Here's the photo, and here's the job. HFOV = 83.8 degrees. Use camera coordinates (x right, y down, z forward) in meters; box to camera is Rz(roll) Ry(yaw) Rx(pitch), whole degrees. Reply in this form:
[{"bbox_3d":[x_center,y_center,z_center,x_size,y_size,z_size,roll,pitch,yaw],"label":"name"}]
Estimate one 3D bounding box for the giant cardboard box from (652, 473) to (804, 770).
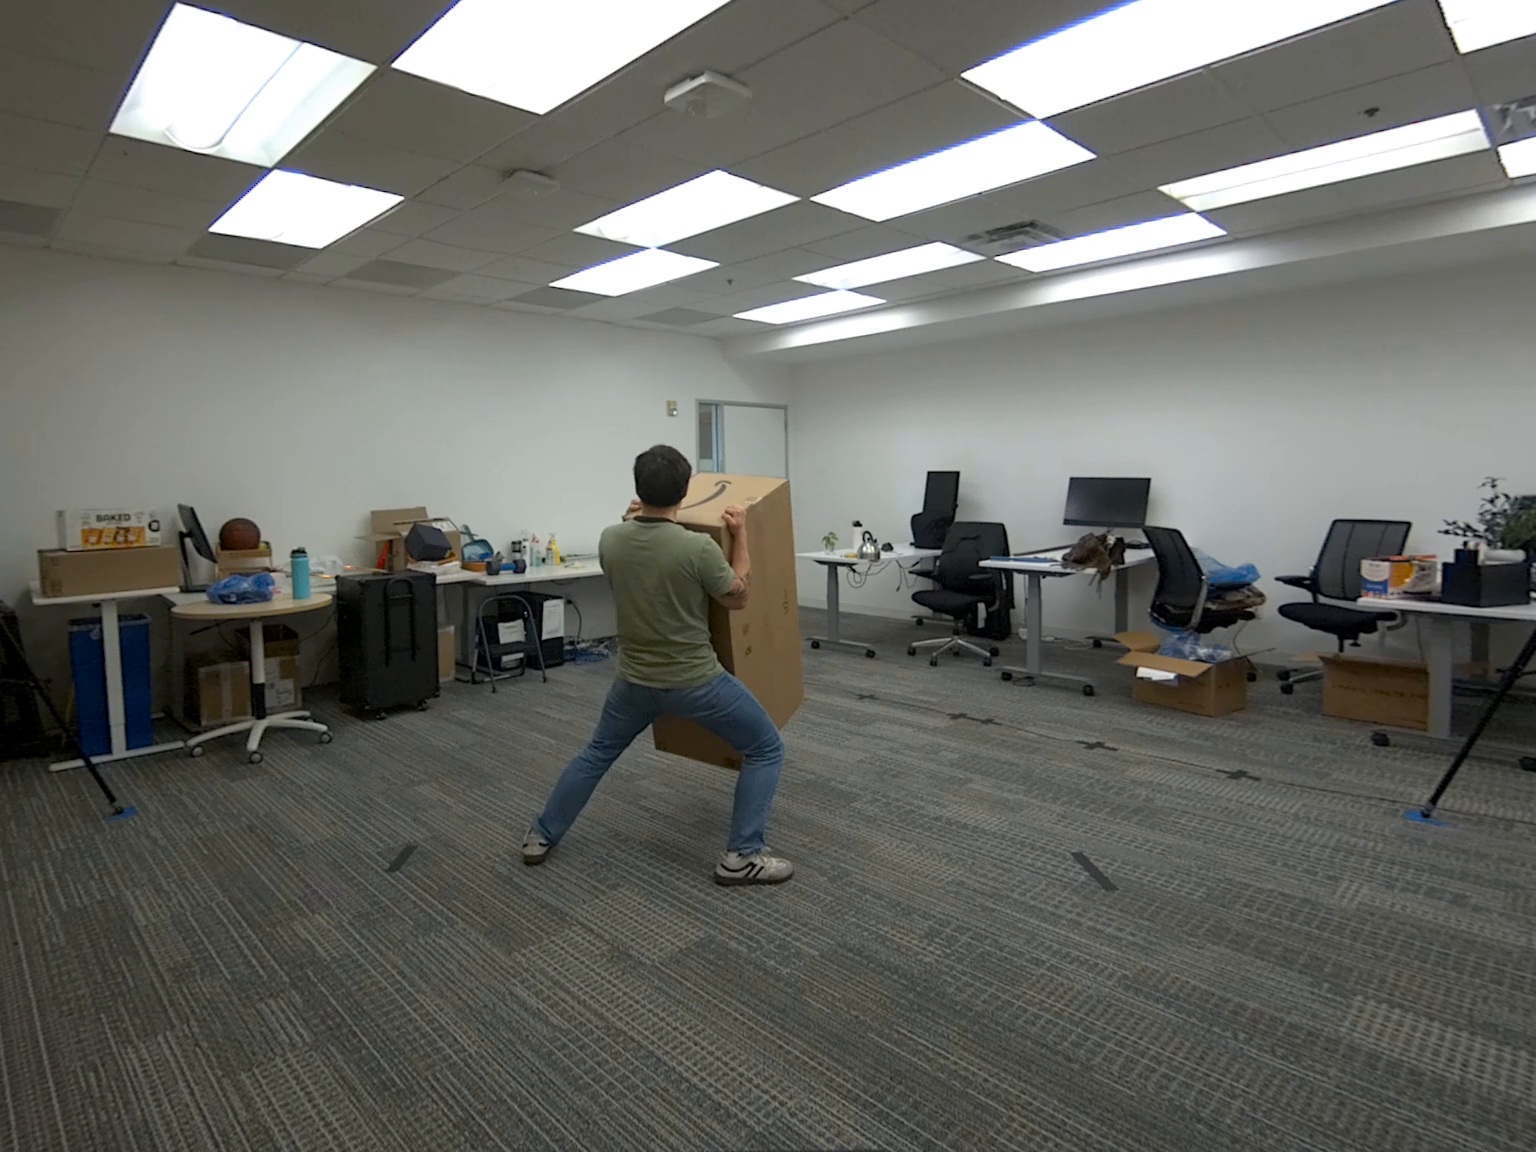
[{"bbox_3d":[-0.171,0.151,3.462,0.437,1.006,0.574,7,24,27],"label":"giant cardboard box"}]
